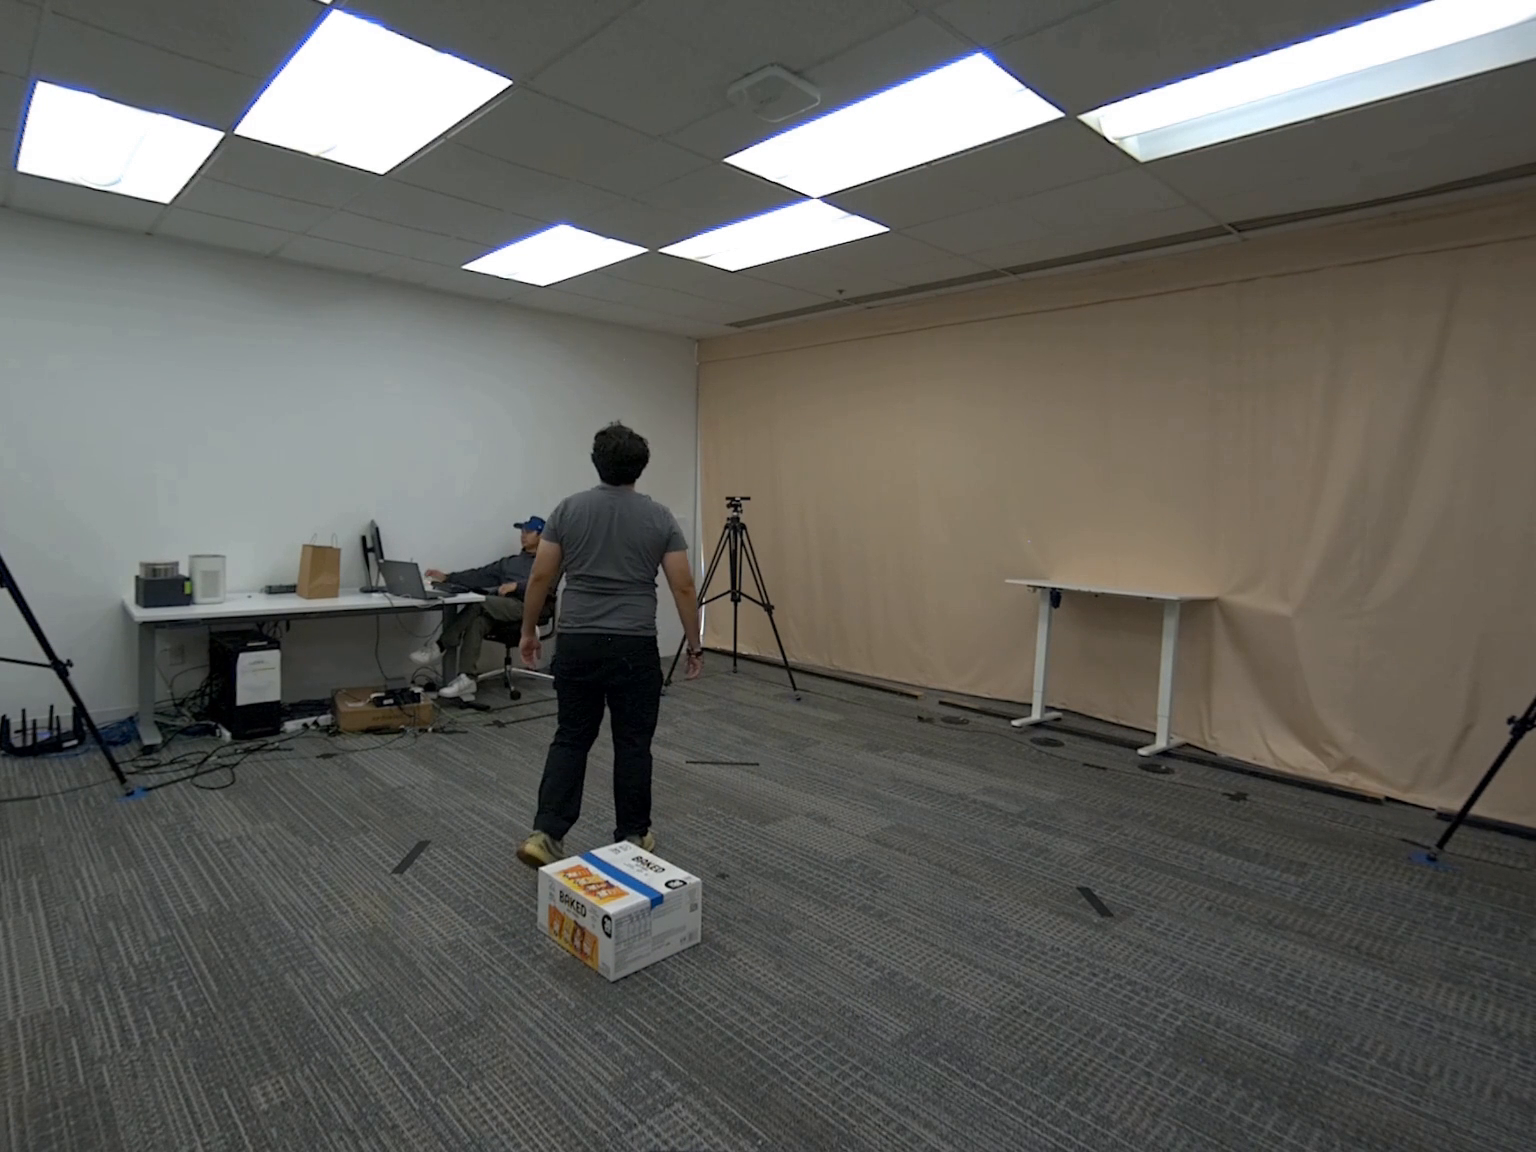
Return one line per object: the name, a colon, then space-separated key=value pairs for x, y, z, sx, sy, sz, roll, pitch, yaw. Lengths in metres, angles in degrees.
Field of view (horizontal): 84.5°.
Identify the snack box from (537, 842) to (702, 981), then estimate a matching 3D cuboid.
snack box: x=-0.475 y=1.042 z=2.646 sx=0.332 sy=0.205 sz=0.415 roll=-4 pitch=6 yaw=-44
